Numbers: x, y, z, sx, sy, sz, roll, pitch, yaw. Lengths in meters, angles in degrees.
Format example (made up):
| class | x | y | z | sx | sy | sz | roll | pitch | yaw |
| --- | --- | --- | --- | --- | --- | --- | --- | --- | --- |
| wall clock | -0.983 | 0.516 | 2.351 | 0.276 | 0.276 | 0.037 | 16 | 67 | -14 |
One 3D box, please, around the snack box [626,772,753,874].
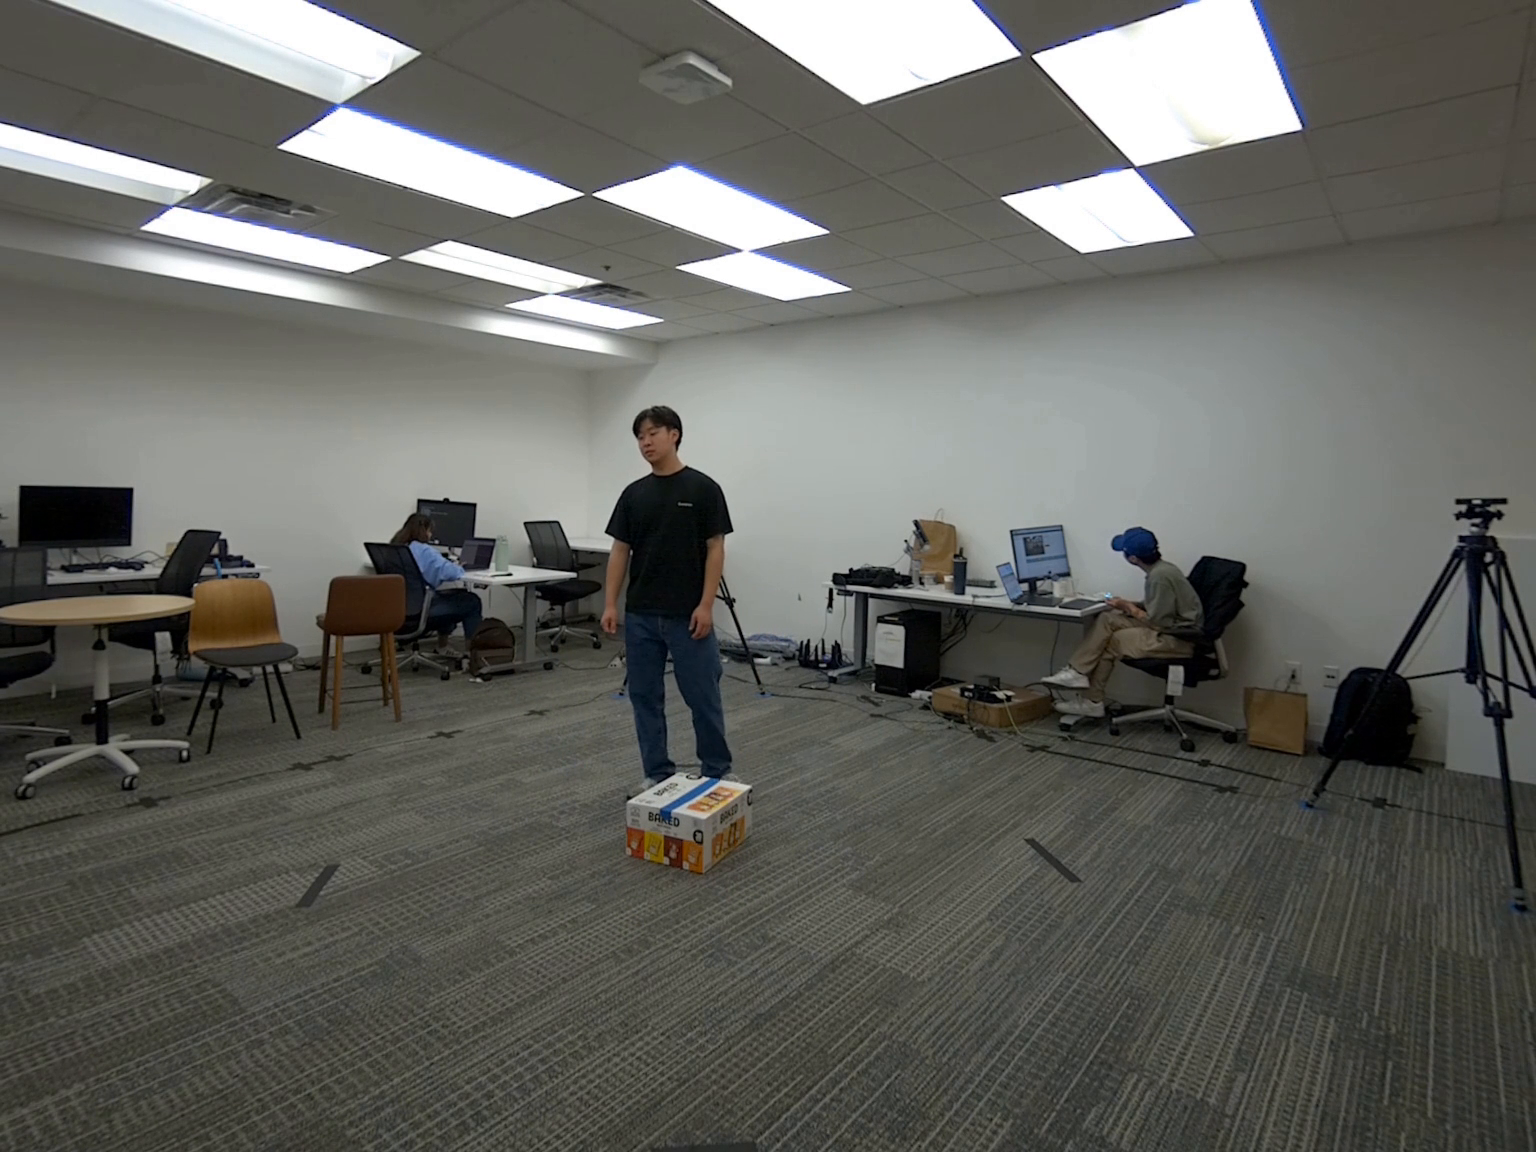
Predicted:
| class | x | y | z | sx | sy | sz | roll | pitch | yaw |
| --- | --- | --- | --- | --- | --- | --- | --- | --- | --- |
| snack box | -0.310 | 0.945 | 3.317 | 0.349 | 0.205 | 0.396 | 3 | 5 | 26 |
